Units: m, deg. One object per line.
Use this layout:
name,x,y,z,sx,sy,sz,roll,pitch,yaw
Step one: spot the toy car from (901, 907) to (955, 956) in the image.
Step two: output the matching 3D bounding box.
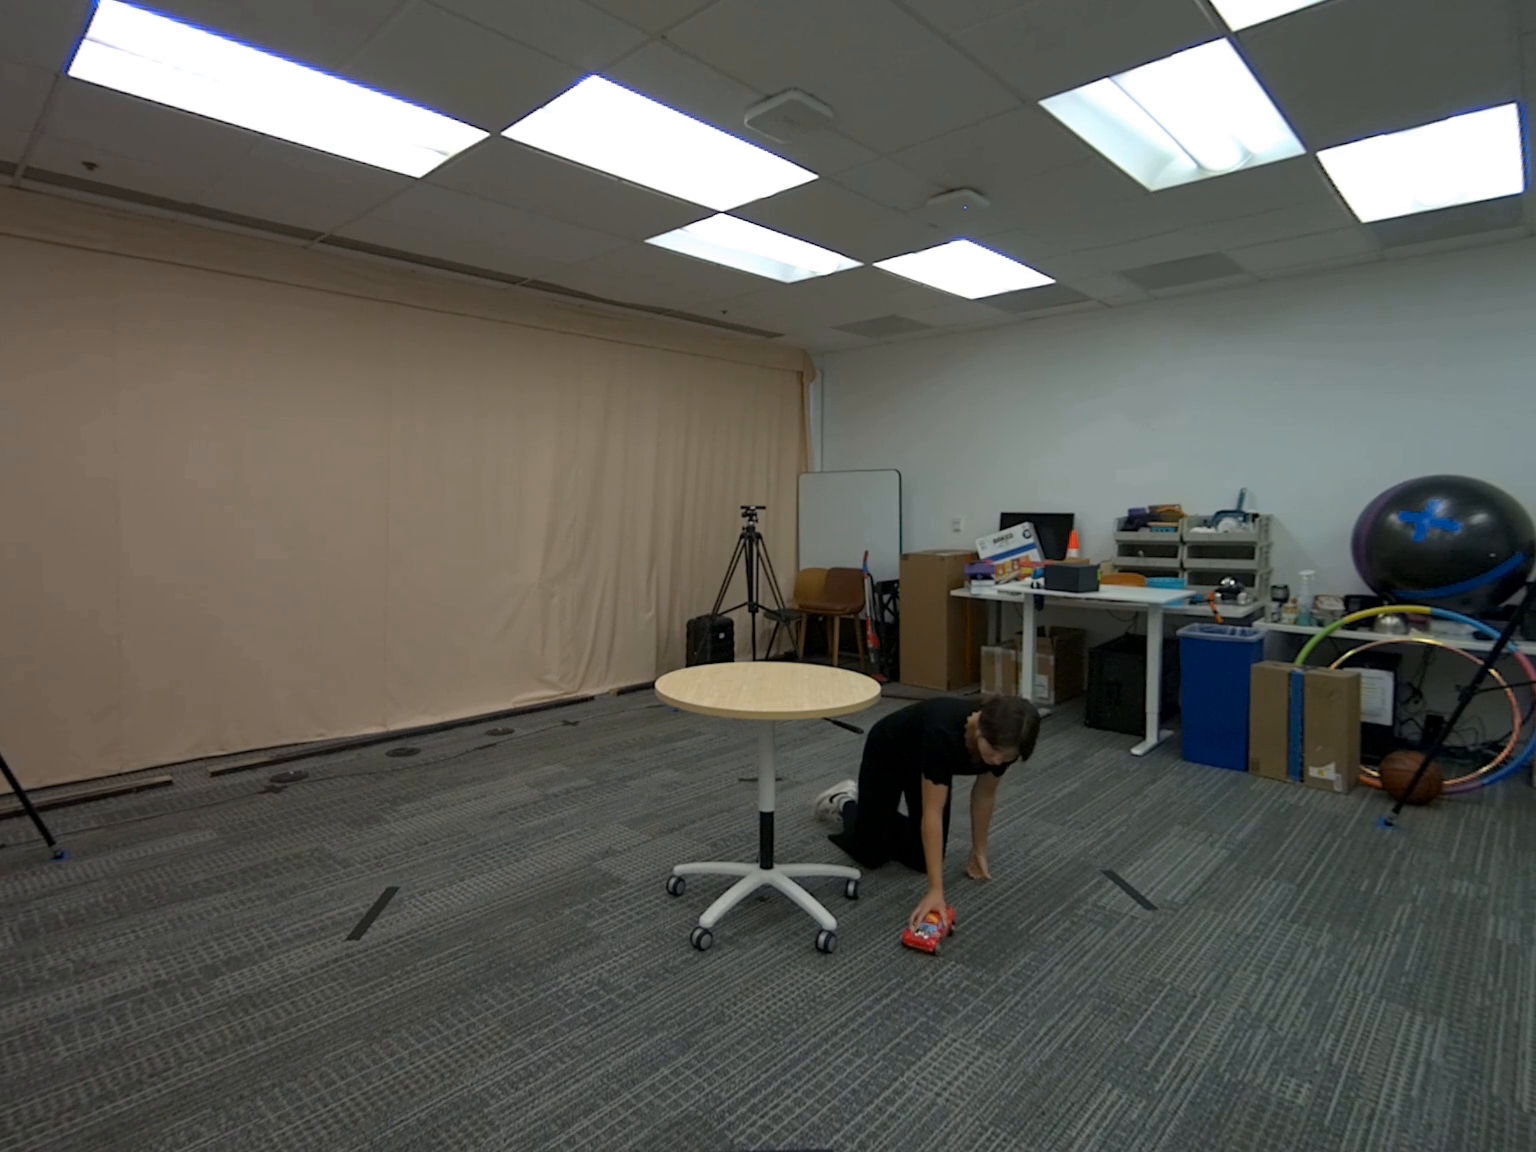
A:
toy car,0.533,1.131,2.714,0.134,0.082,0.250,3,17,30
